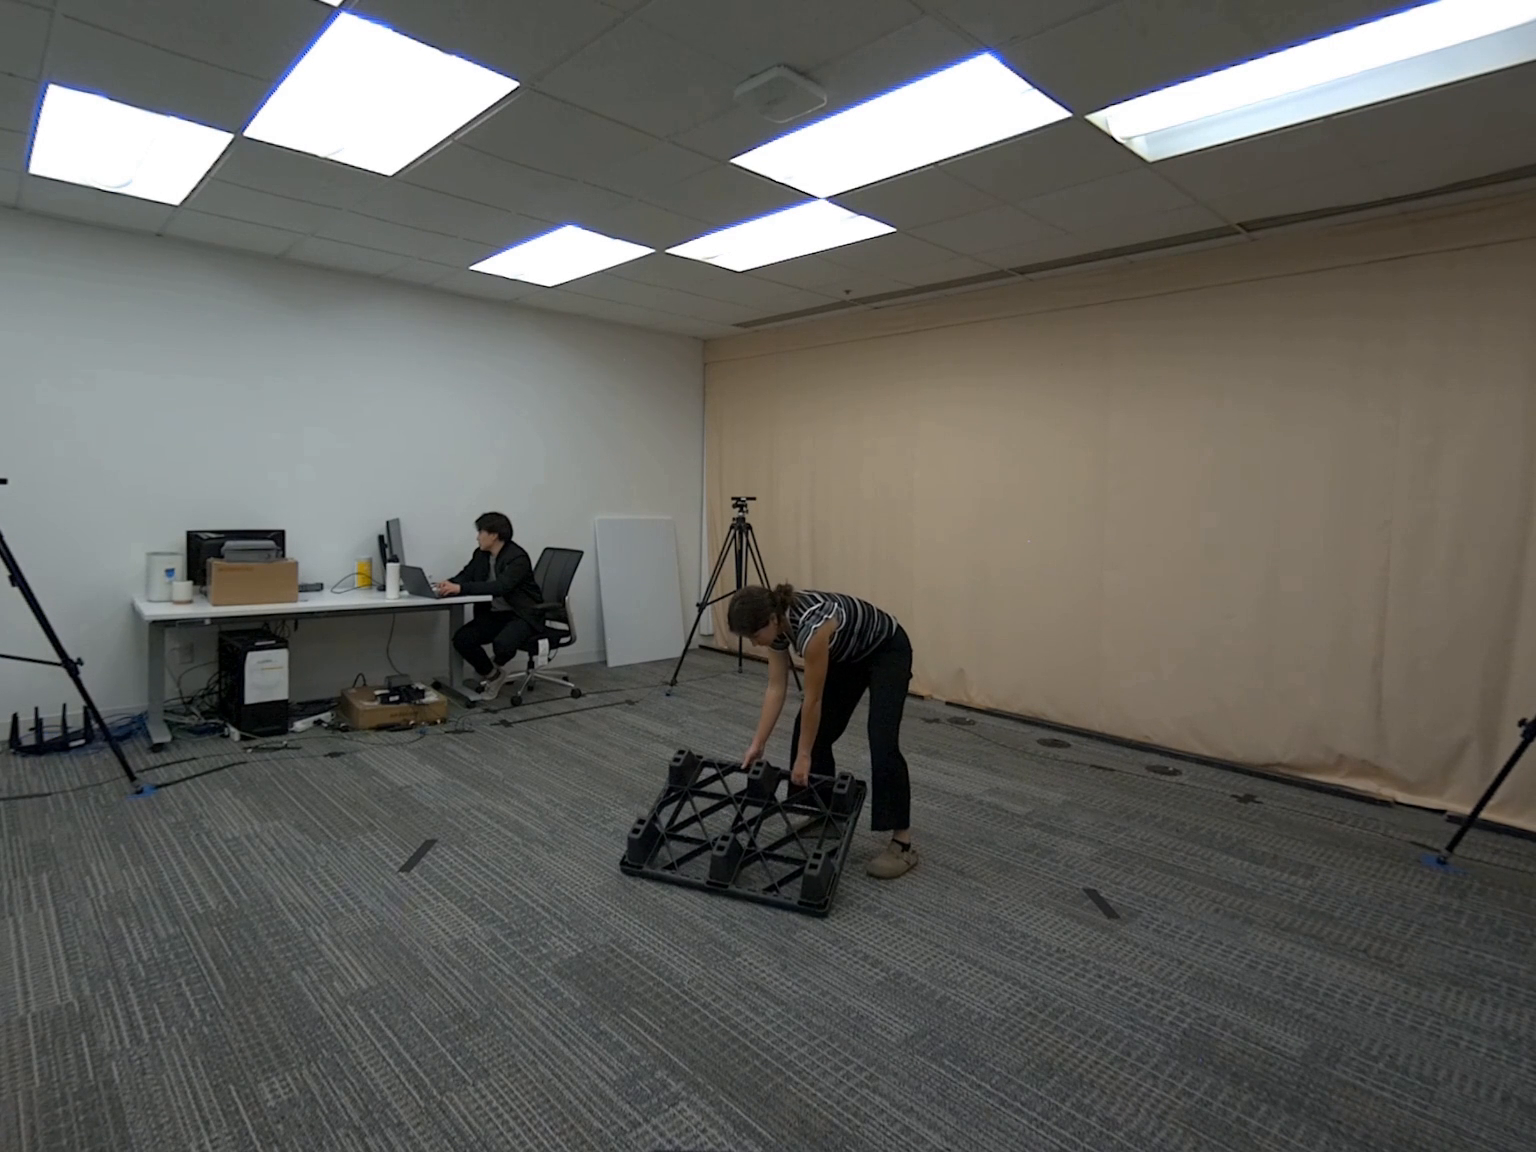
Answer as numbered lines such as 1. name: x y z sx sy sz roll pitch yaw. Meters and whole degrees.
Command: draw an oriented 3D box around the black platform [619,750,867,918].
1. black platform: -0.091 0.909 3.152 0.820 0.140 0.608 3 34 22
